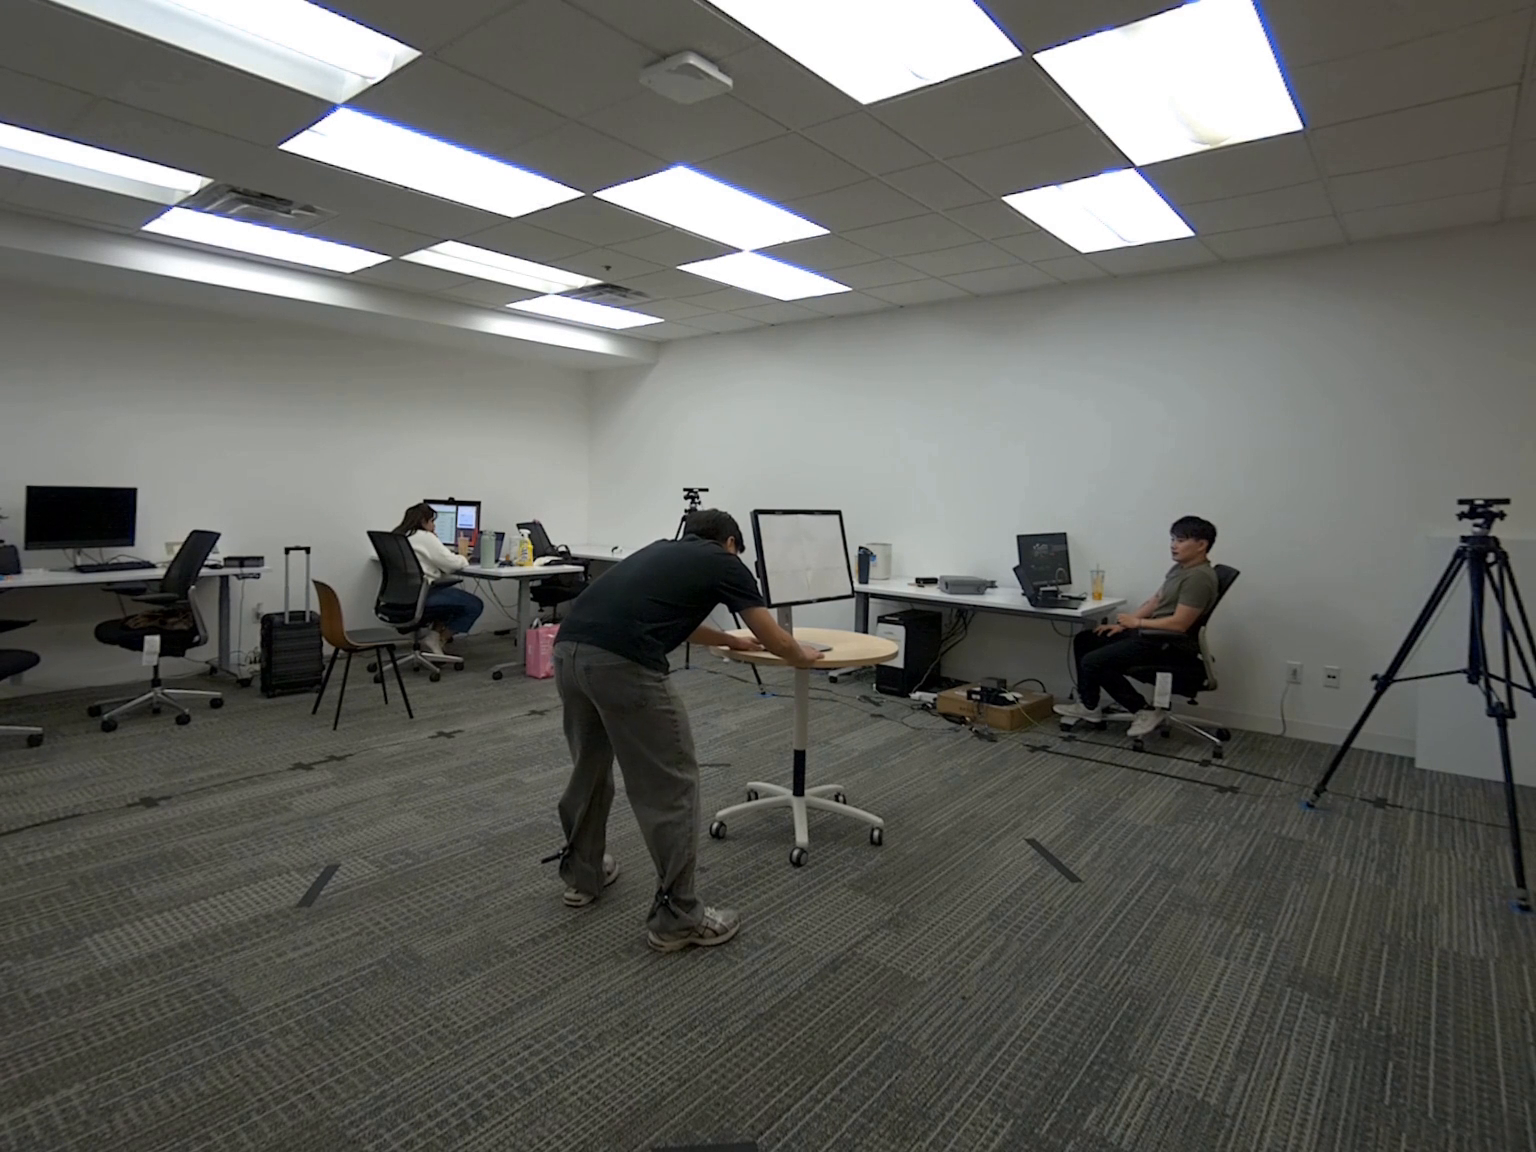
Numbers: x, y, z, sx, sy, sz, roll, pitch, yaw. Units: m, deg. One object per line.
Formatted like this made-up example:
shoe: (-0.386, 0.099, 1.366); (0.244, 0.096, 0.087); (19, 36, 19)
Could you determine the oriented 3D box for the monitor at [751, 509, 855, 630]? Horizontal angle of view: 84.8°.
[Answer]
monitor: (0.084, 0.013, 3.310); (0.216, 0.555, 0.548); (-6, -1, 40)
